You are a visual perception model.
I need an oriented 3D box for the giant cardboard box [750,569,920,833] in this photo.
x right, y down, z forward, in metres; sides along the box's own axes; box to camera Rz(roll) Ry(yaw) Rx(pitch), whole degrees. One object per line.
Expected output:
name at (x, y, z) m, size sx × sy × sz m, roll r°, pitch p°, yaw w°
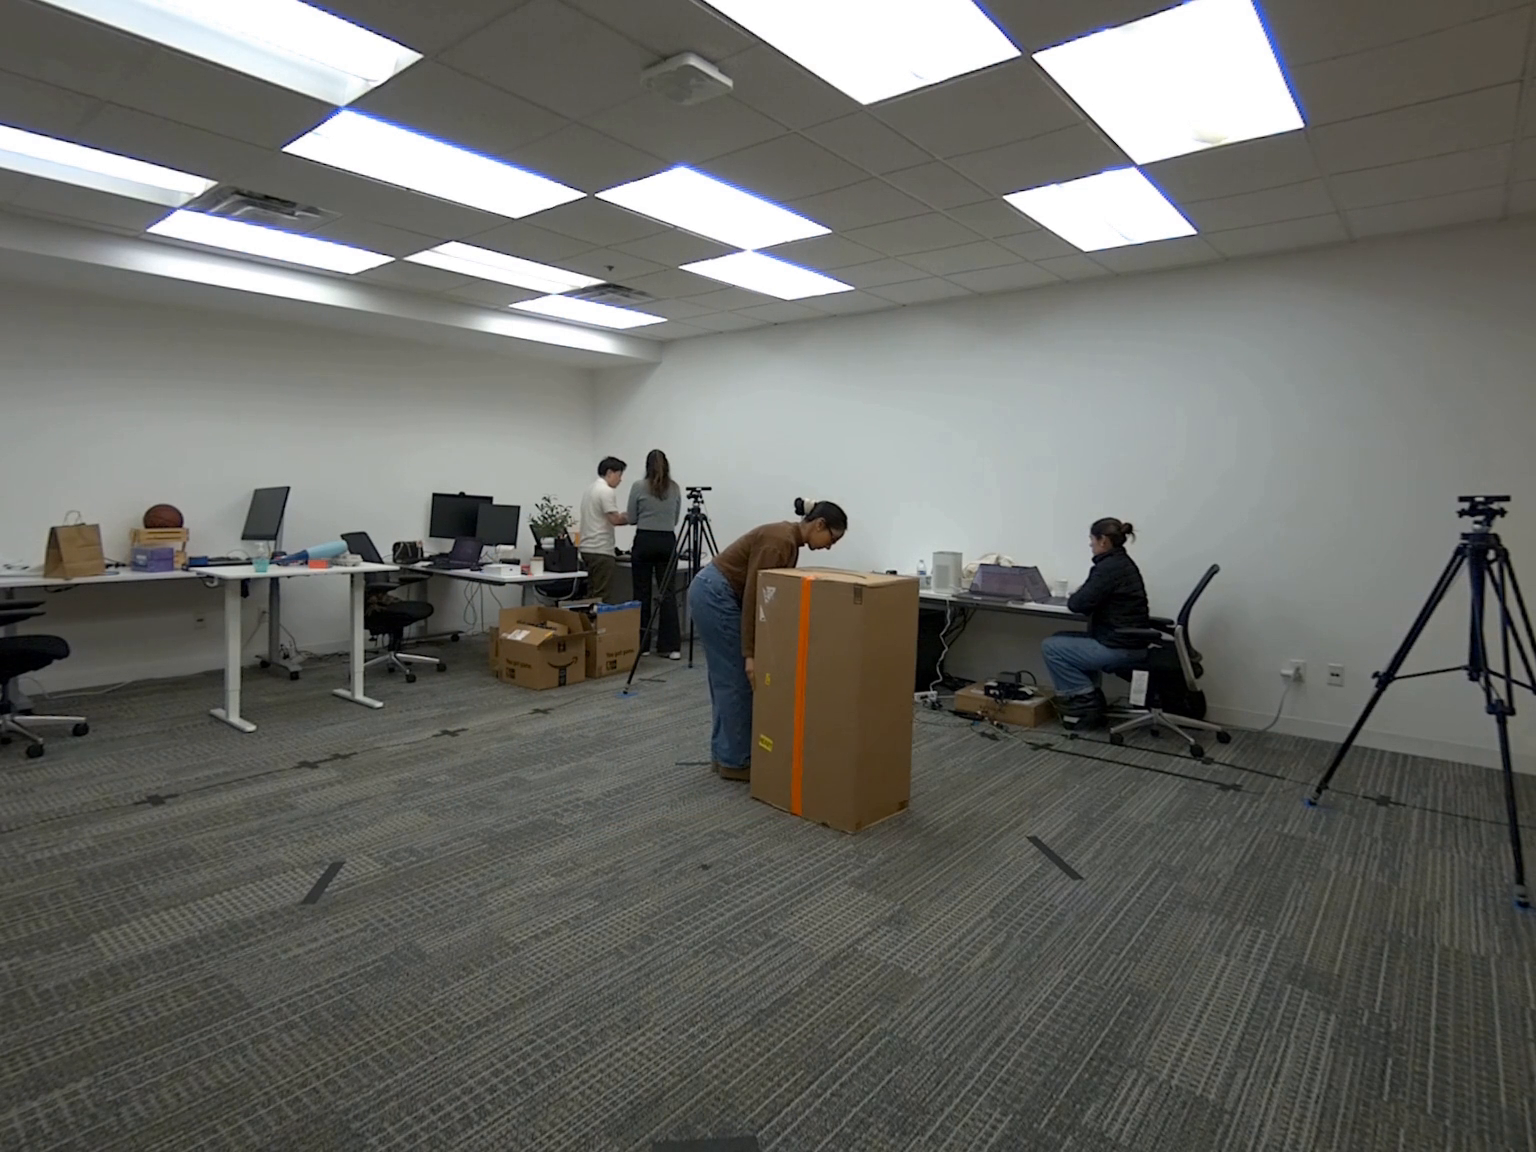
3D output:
giant cardboard box at (0.276, 0.501, 3.745) m, size 0.597 × 1.022 × 0.413 m, roll 5°, pitch 5°, yaw 43°
